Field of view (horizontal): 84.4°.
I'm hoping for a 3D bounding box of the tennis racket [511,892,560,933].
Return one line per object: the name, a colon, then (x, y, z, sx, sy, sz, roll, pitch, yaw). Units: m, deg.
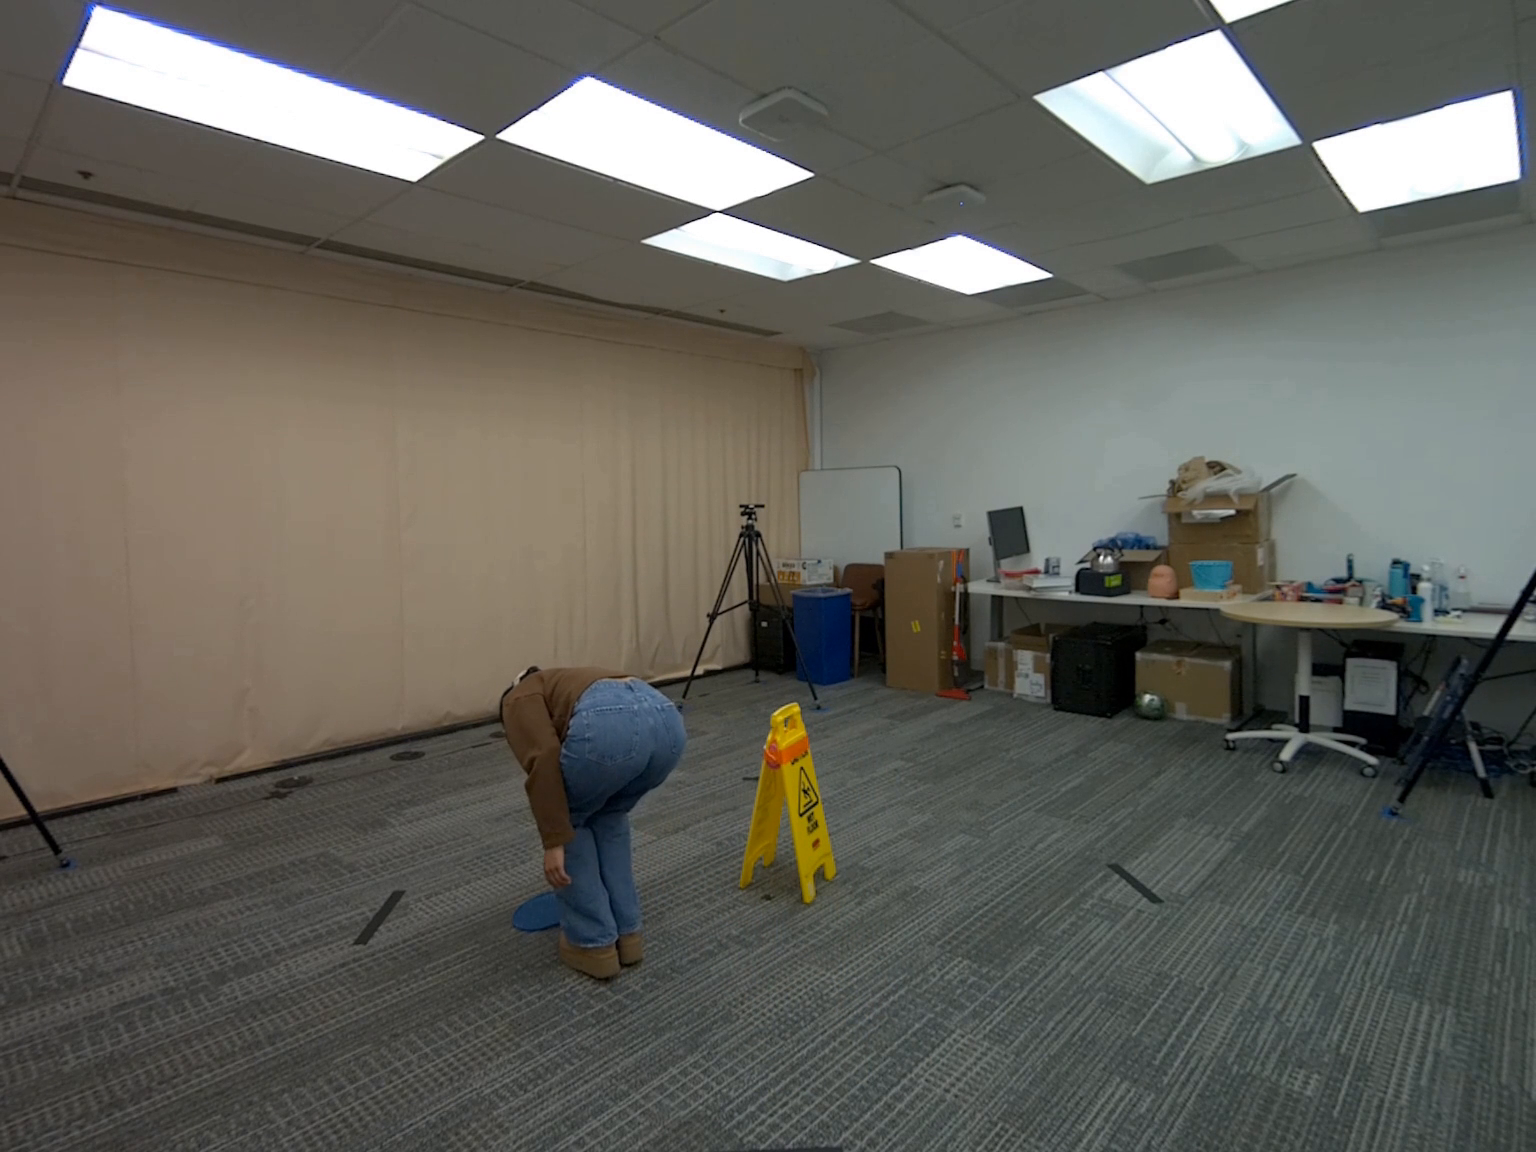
tennis racket: (-0.707, 1.130, 2.951, 0.220, 0.031, 0.421, 2, 9, 36)
